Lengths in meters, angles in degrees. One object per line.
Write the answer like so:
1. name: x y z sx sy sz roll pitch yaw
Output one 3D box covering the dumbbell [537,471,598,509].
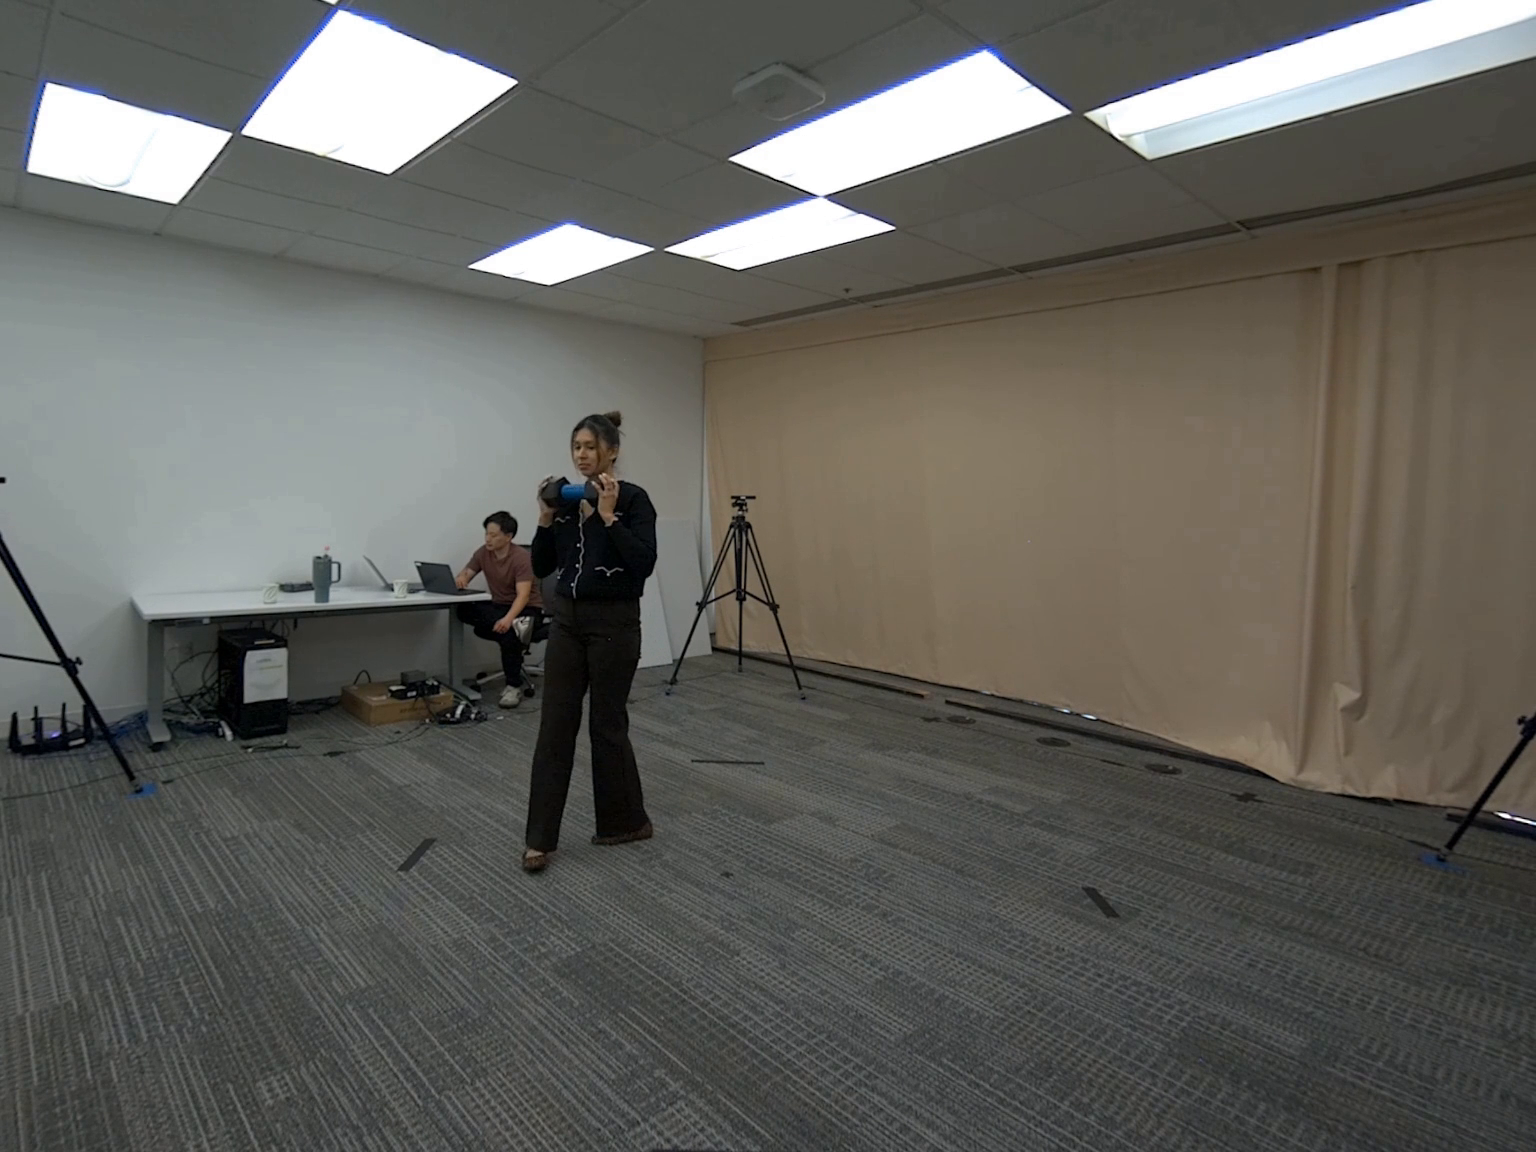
1. dumbbell: -0.713 -0.315 3.192 0.300 0.109 0.119 3 -28 37
